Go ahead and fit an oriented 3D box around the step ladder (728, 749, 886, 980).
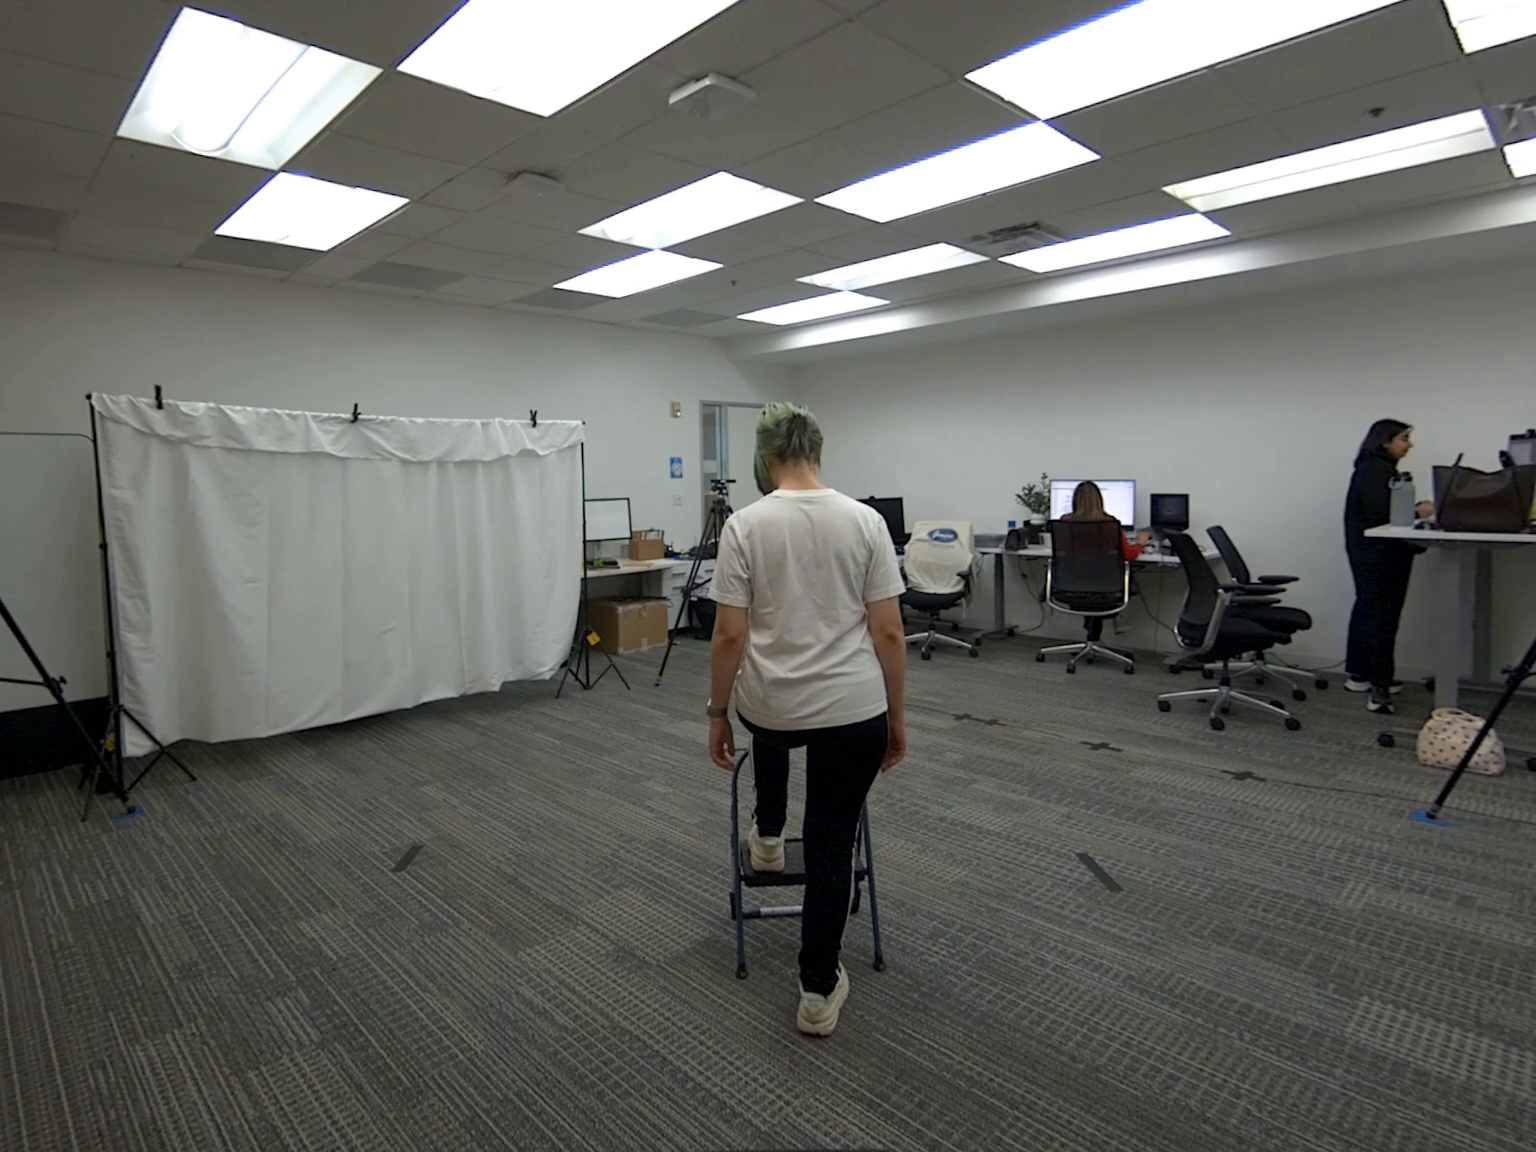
[{"bbox_3d":[0.106,0.811,2.563,0.429,0.603,0.352,-2,5,-5],"label":"step ladder"}]
